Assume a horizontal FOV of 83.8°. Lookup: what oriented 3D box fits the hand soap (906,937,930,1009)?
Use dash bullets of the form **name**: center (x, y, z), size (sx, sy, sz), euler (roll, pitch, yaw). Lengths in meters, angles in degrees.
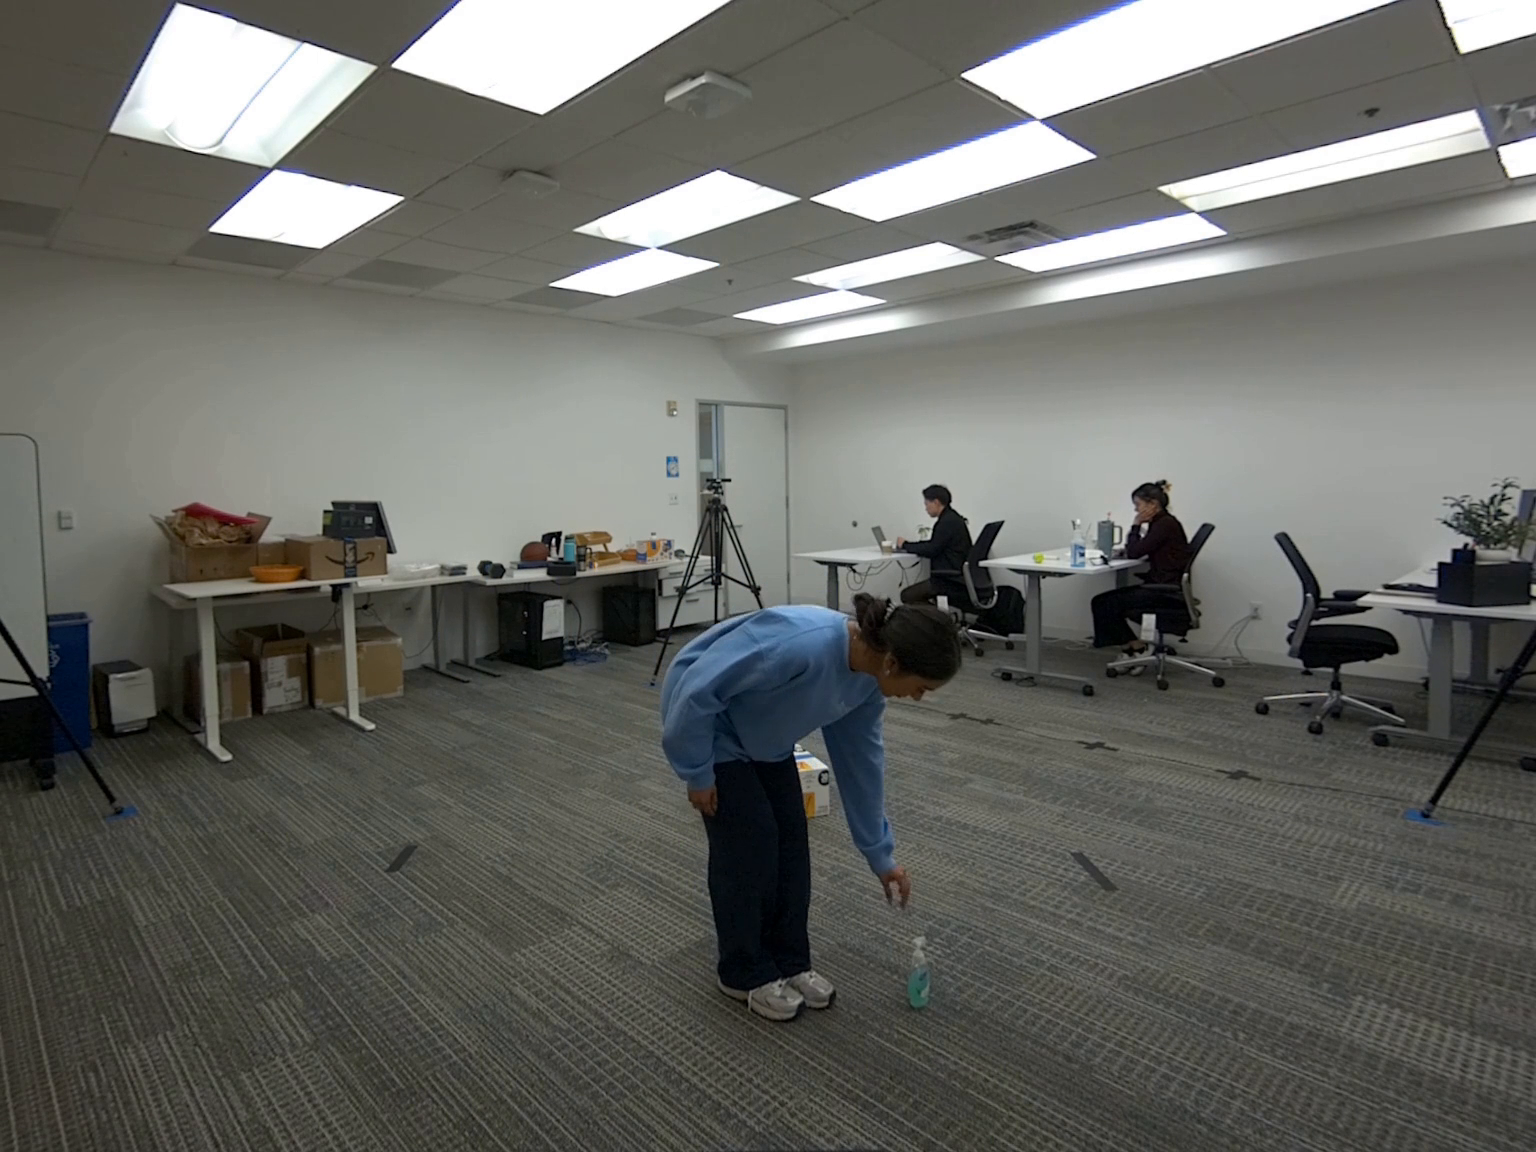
- **hand soap**: center (0.400, 1.046, 2.269), size (0.045, 0.167, 0.082), euler (2, 6, 42)
